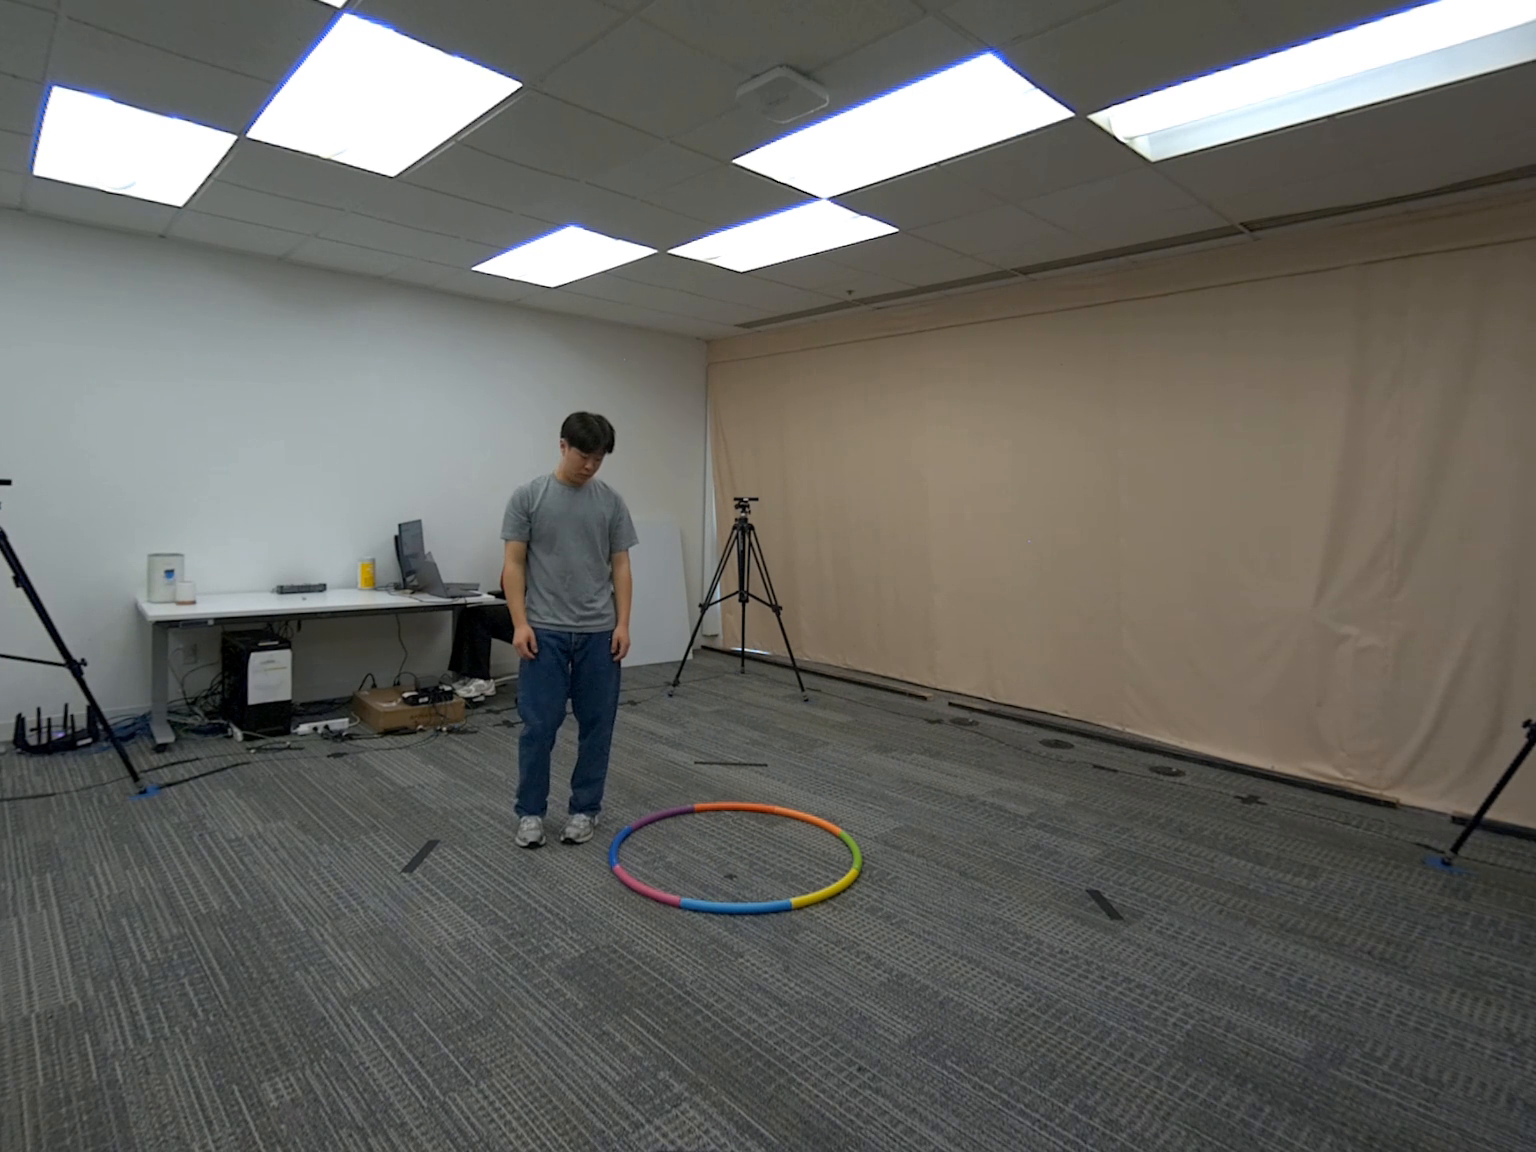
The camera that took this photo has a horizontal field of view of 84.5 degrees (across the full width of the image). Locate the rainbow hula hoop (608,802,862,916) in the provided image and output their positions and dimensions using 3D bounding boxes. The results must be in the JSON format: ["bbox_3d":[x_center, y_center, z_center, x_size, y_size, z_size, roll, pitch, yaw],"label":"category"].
[{"bbox_3d":[-0.143,1.057,3.300,0.978,0.035,0.982,1,5,-1],"label":"rainbow hula hoop"}]
